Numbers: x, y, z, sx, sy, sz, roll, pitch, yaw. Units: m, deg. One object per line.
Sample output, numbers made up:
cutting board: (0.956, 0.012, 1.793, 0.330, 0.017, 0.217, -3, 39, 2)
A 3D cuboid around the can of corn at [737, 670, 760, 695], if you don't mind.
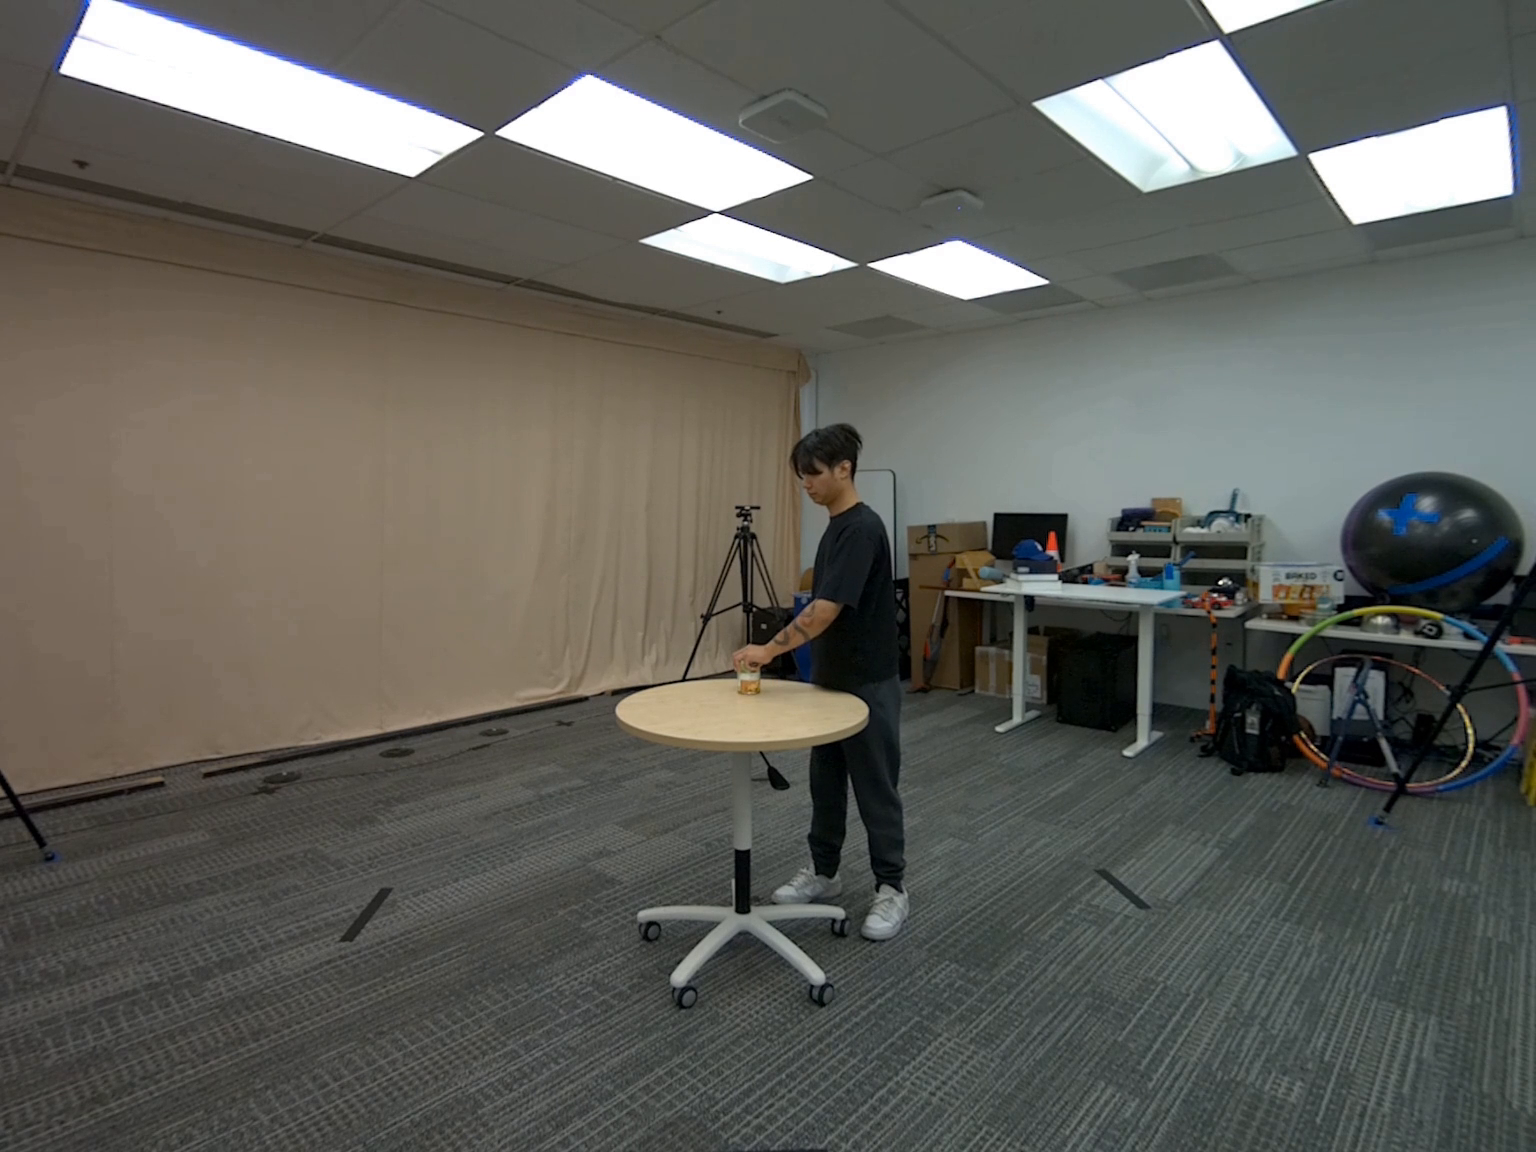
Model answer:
can of corn: (-0.057, 0.329, 2.743, 0.074, 0.111, 0.074, 4, 0, -2)
